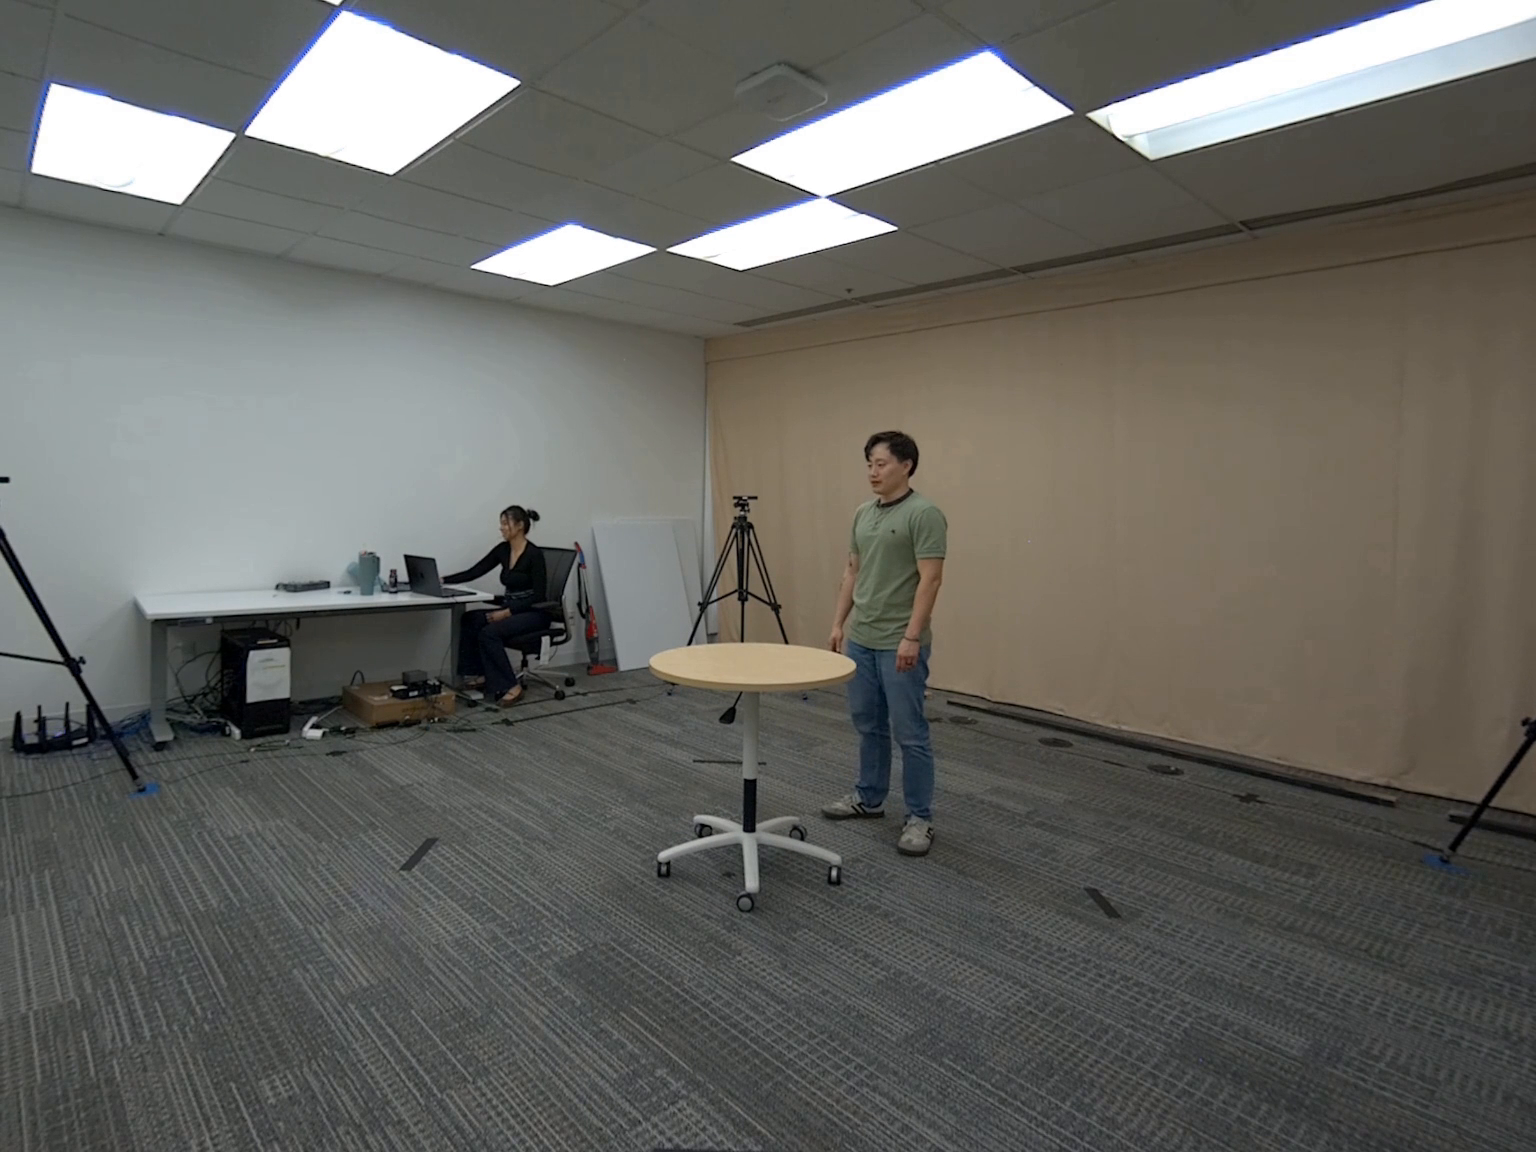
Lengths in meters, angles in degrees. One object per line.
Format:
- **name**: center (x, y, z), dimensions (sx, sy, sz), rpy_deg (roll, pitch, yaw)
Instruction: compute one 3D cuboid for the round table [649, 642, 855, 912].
- **round table**: center (-0.074, 0.711, 3.144), dimensions (0.763, 0.792, 0.766), rpy_deg (1, 4, -1)
